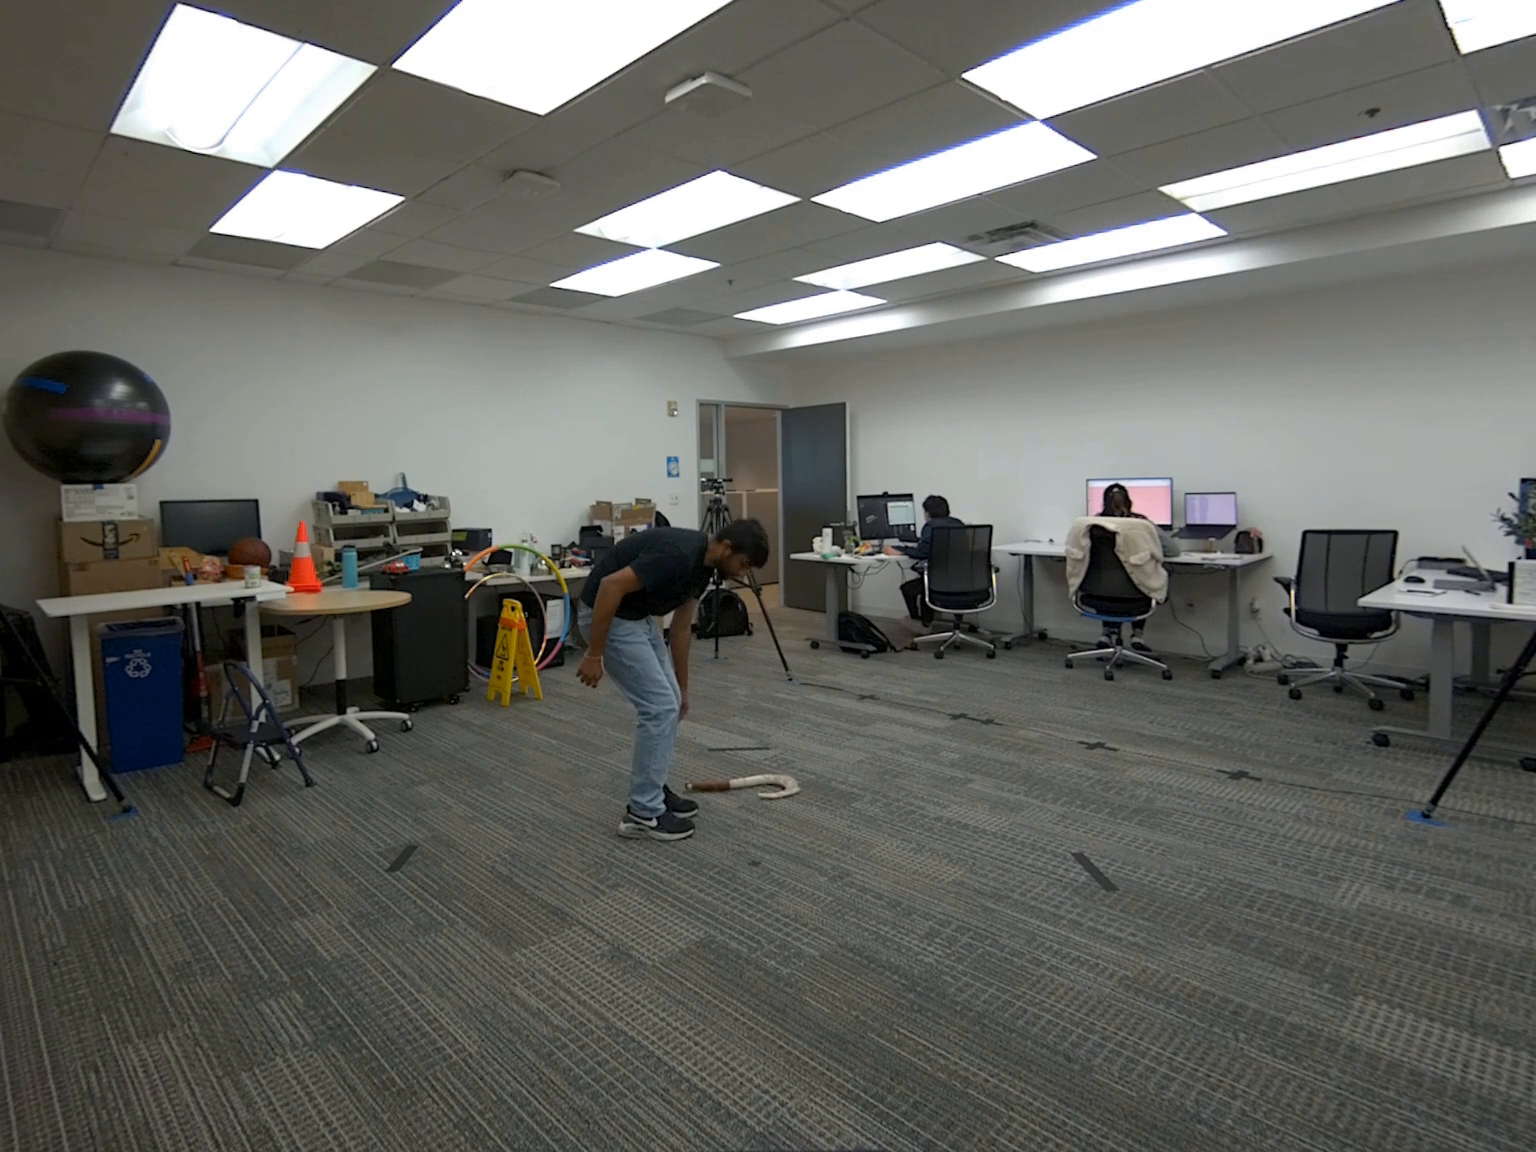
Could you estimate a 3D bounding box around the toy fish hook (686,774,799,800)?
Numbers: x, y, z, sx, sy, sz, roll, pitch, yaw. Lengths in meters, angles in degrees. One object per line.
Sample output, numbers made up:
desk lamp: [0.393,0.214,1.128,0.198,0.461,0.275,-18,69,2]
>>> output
toy fish hook: [-0.117,0.942,3.814,0.504,0.048,0.227,-2,5,-6]
